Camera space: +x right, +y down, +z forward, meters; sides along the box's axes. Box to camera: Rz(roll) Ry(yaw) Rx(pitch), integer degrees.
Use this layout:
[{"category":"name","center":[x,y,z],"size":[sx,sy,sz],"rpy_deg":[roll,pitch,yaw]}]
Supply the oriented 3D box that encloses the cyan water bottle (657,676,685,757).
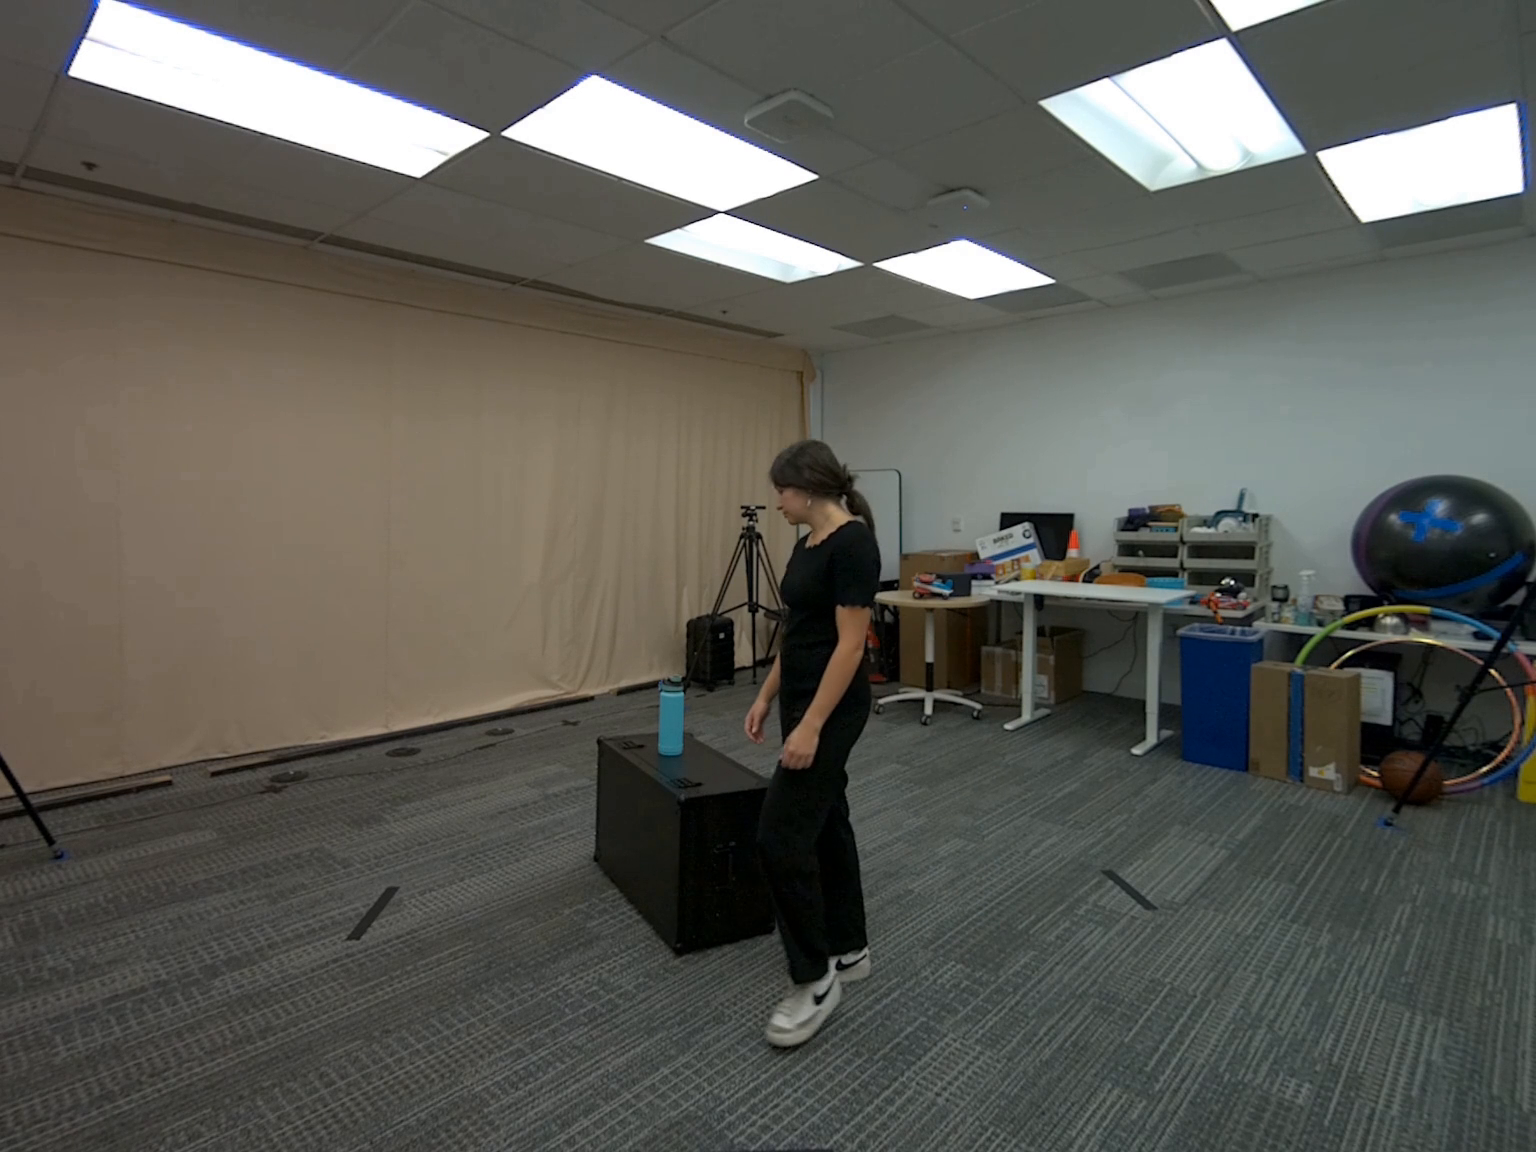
[{"category":"cyan water bottle","center":[-0.356,0.511,3.093],"size":[0.092,0.283,0.092],"rpy_deg":[0,2,-2]}]
